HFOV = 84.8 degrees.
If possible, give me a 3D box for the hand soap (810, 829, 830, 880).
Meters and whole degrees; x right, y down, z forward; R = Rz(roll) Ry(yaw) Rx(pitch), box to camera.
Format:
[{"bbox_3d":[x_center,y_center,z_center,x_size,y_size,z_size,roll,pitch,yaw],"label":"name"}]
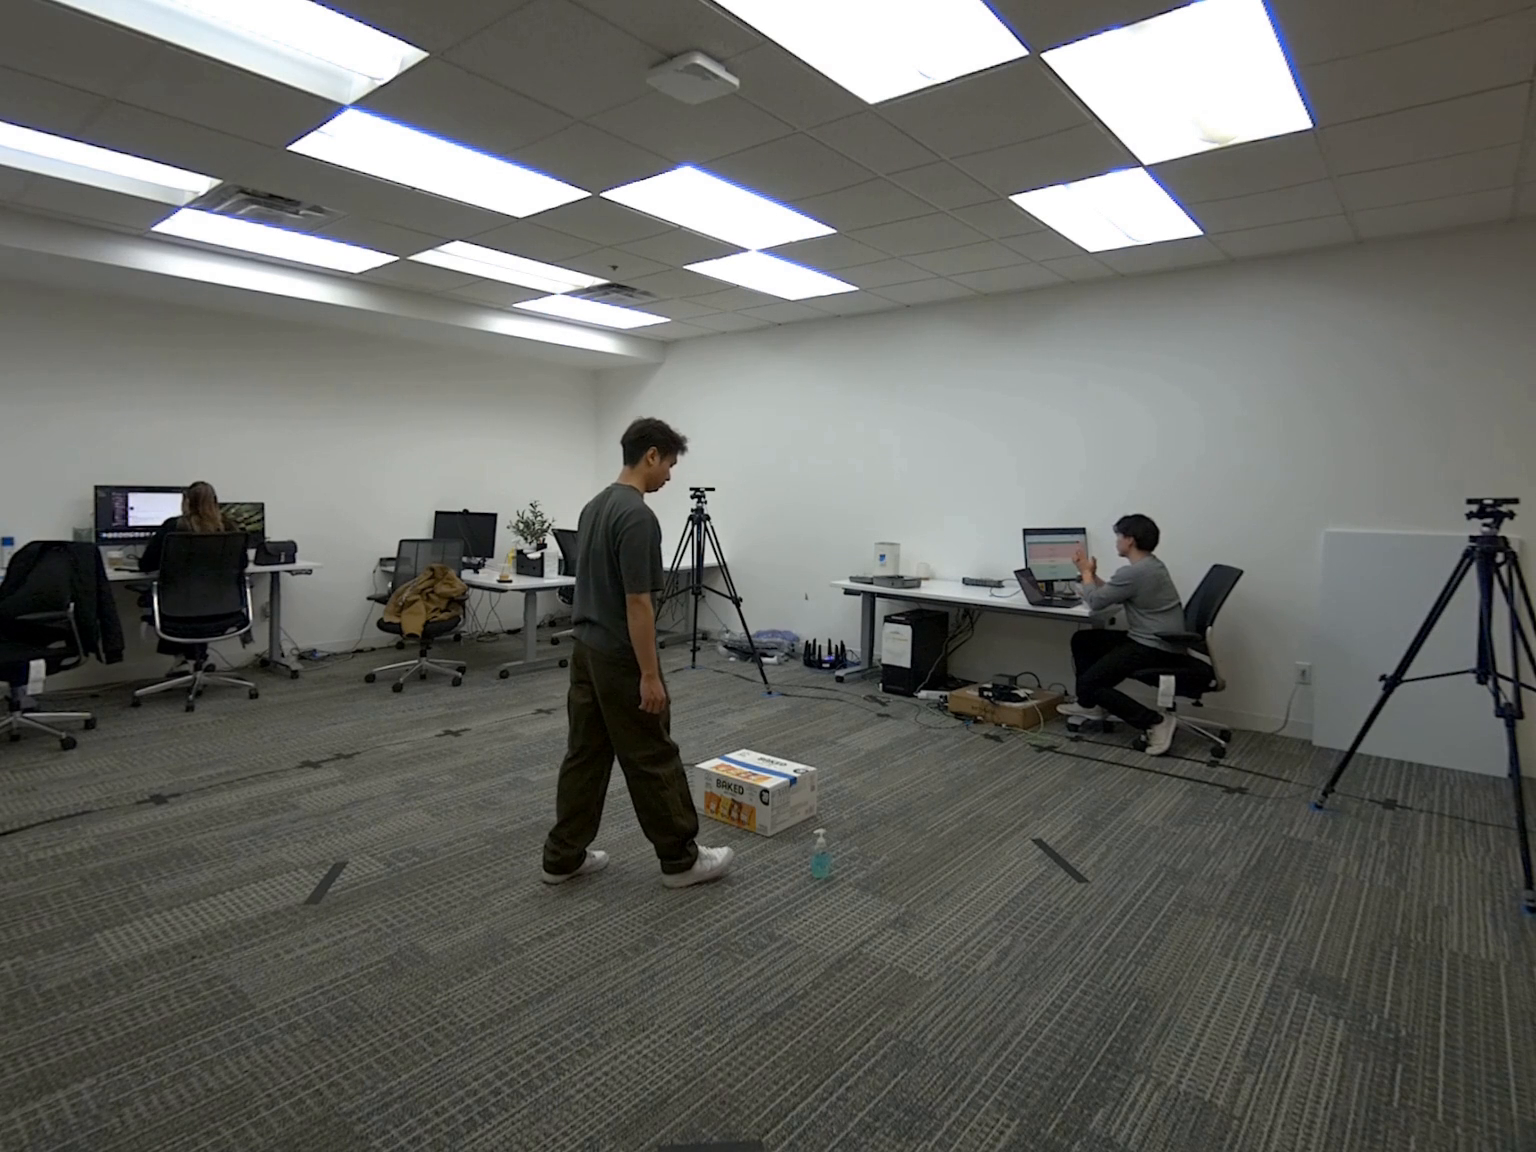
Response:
[{"bbox_3d":[0.183,1.005,3.062,0.082,0.167,0.045,1,6,-28],"label":"hand soap"}]
